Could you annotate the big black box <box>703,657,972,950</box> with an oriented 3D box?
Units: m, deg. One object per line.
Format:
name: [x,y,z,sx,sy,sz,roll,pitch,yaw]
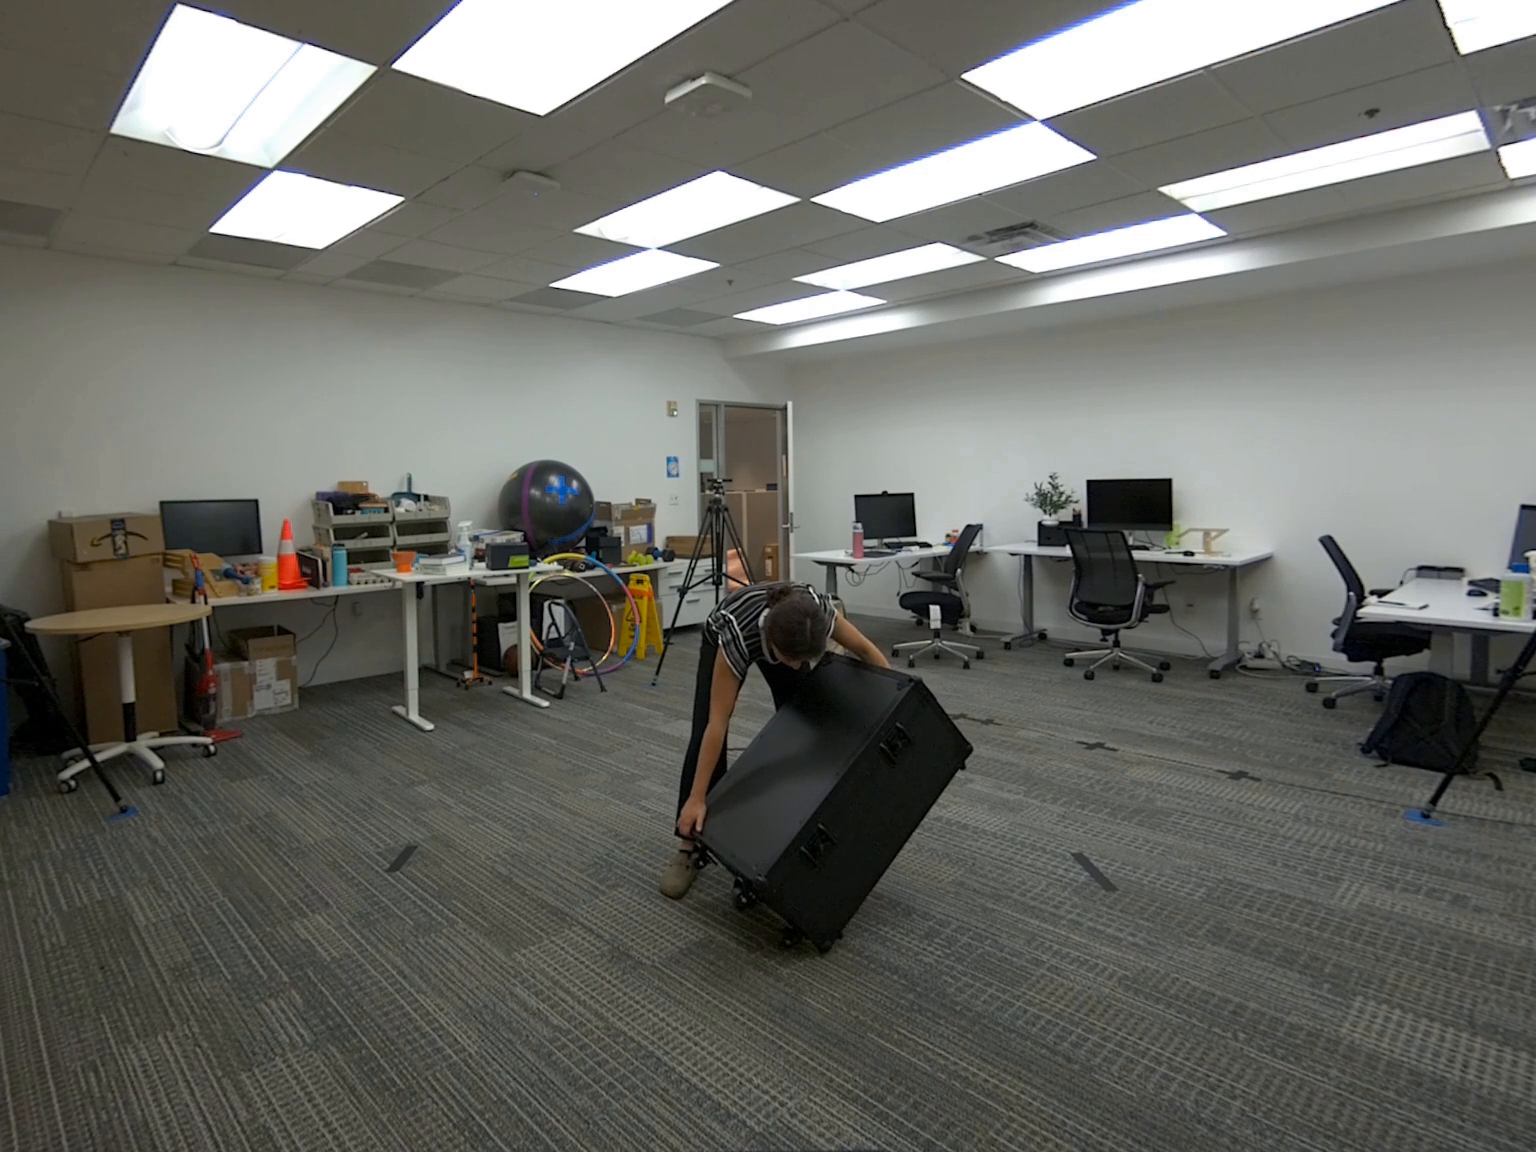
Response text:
big black box: [0.184,0.715,2.753,0.861,0.385,0.536,-47,25,-19]
